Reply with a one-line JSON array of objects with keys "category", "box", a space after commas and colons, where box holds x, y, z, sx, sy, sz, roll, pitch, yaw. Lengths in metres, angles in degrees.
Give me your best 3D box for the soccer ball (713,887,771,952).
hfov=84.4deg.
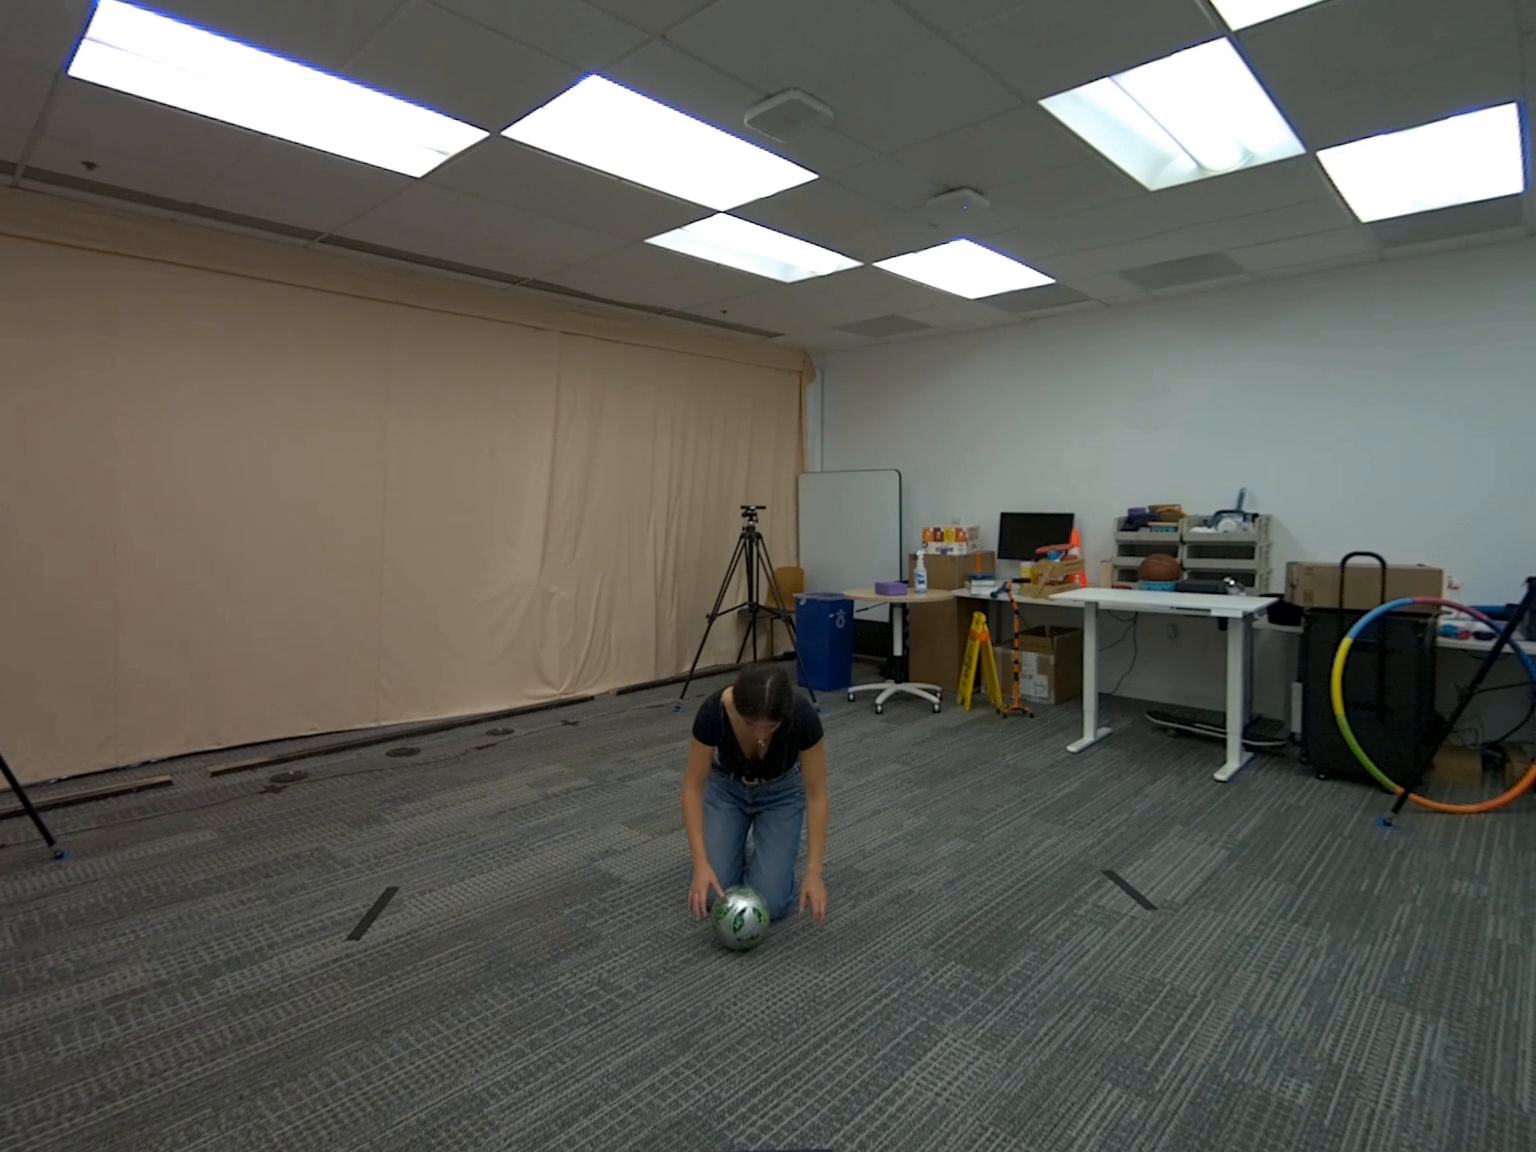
[{"category": "soccer ball", "box": [-0.095, 1.074, 2.660, 0.187, 0.187, 0.188, 0, 4, -2]}]
